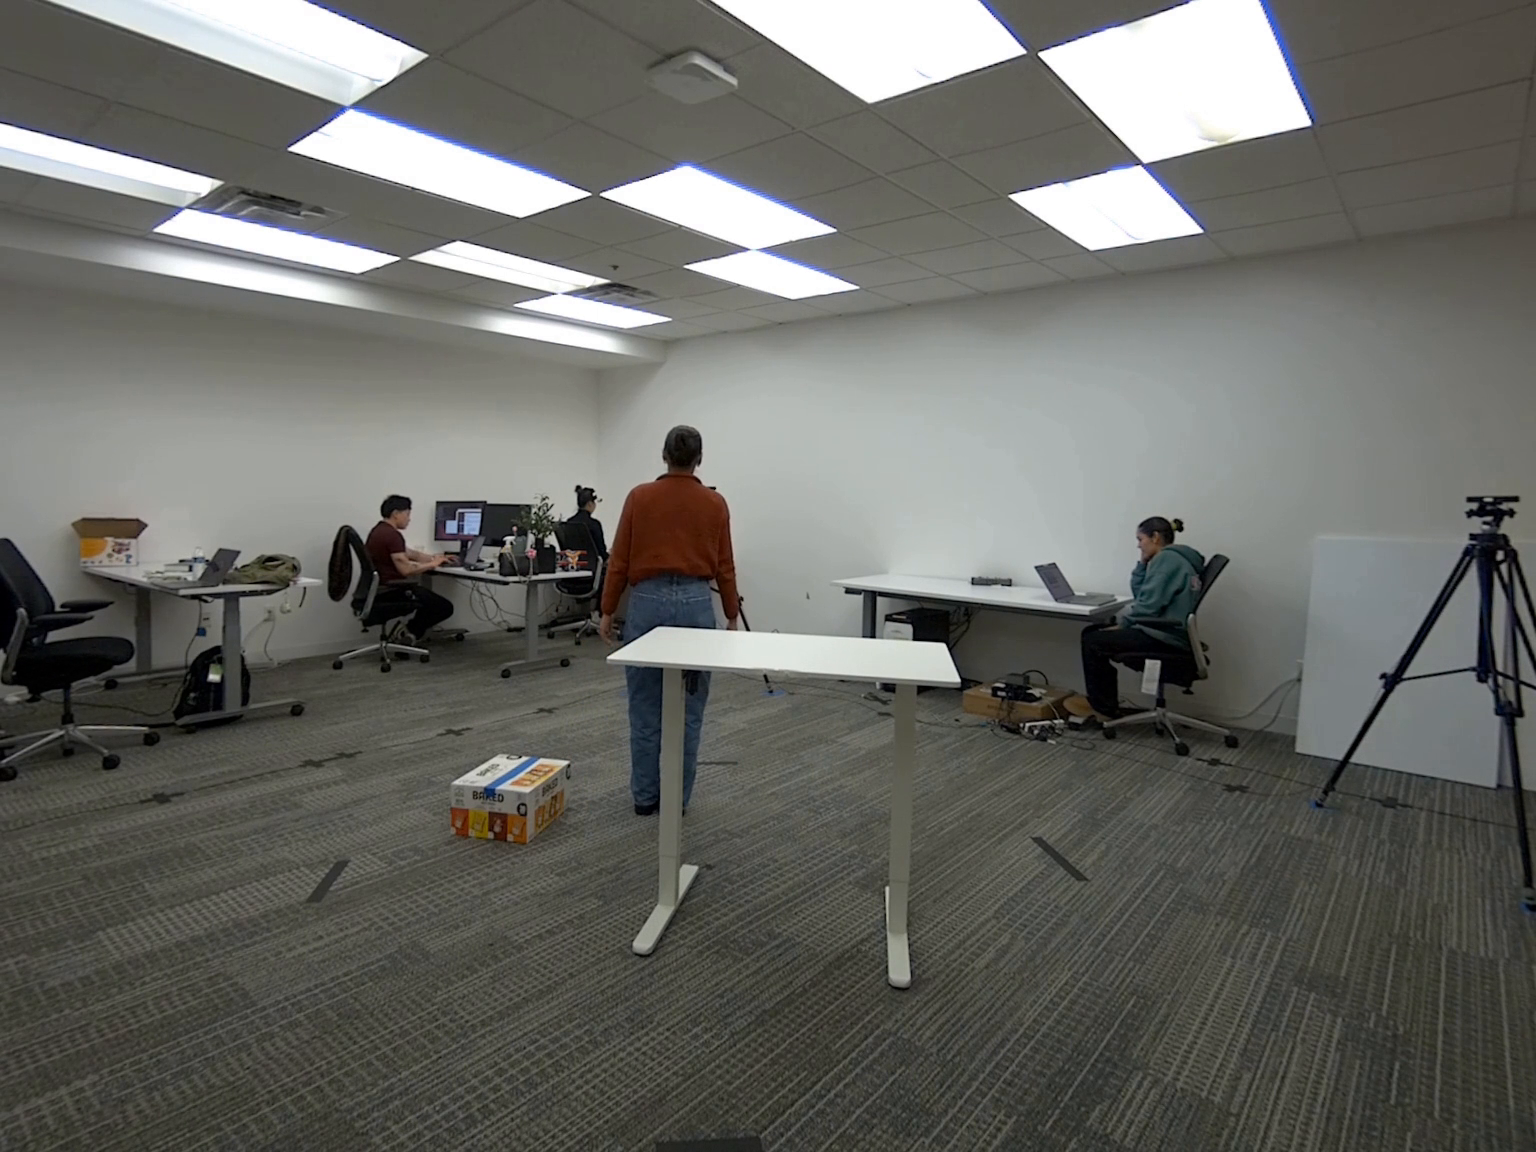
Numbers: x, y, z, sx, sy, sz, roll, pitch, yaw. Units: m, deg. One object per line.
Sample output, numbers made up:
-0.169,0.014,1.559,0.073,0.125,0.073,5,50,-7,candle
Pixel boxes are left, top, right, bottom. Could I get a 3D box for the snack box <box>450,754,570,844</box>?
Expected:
-1.075,0.910,3.519,0.345,0.205,0.401,2,5,12,snack box
